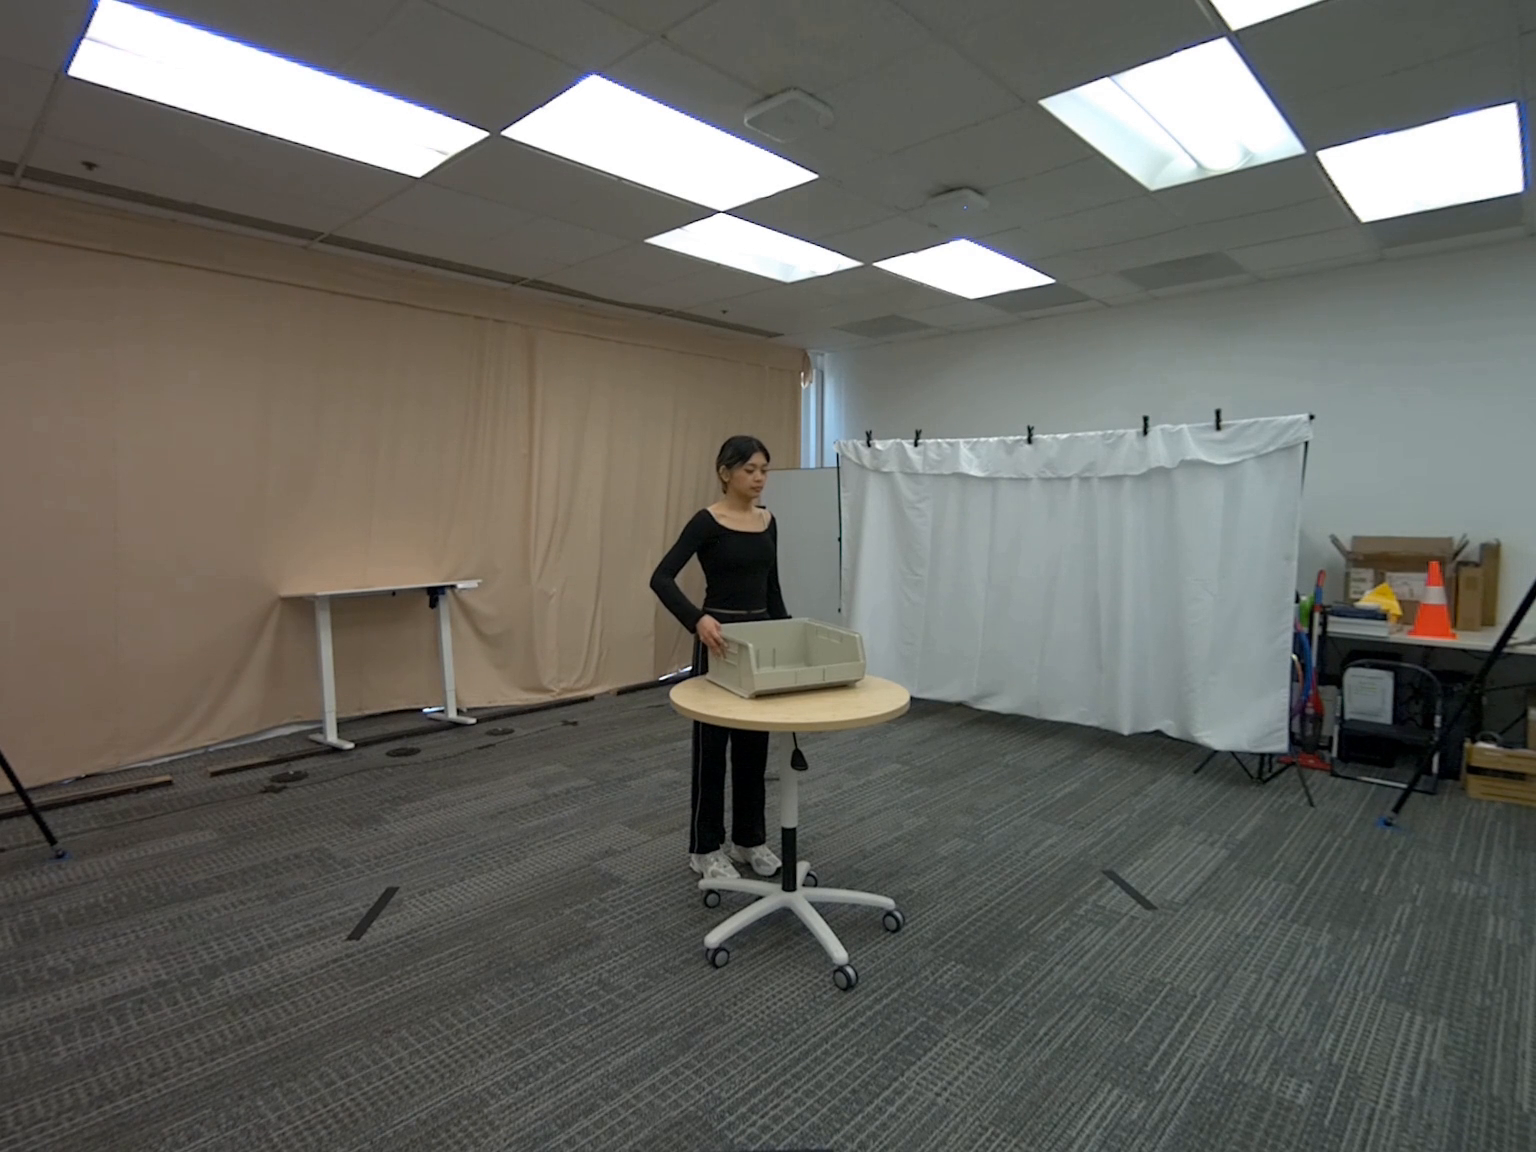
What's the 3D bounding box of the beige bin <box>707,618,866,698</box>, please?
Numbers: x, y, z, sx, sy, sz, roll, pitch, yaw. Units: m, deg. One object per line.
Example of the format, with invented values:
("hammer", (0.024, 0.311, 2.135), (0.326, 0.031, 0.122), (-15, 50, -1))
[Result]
("beige bin", (0.055, 0.267, 2.814), (0.412, 0.188, 0.388), (-4, 6, -27))
